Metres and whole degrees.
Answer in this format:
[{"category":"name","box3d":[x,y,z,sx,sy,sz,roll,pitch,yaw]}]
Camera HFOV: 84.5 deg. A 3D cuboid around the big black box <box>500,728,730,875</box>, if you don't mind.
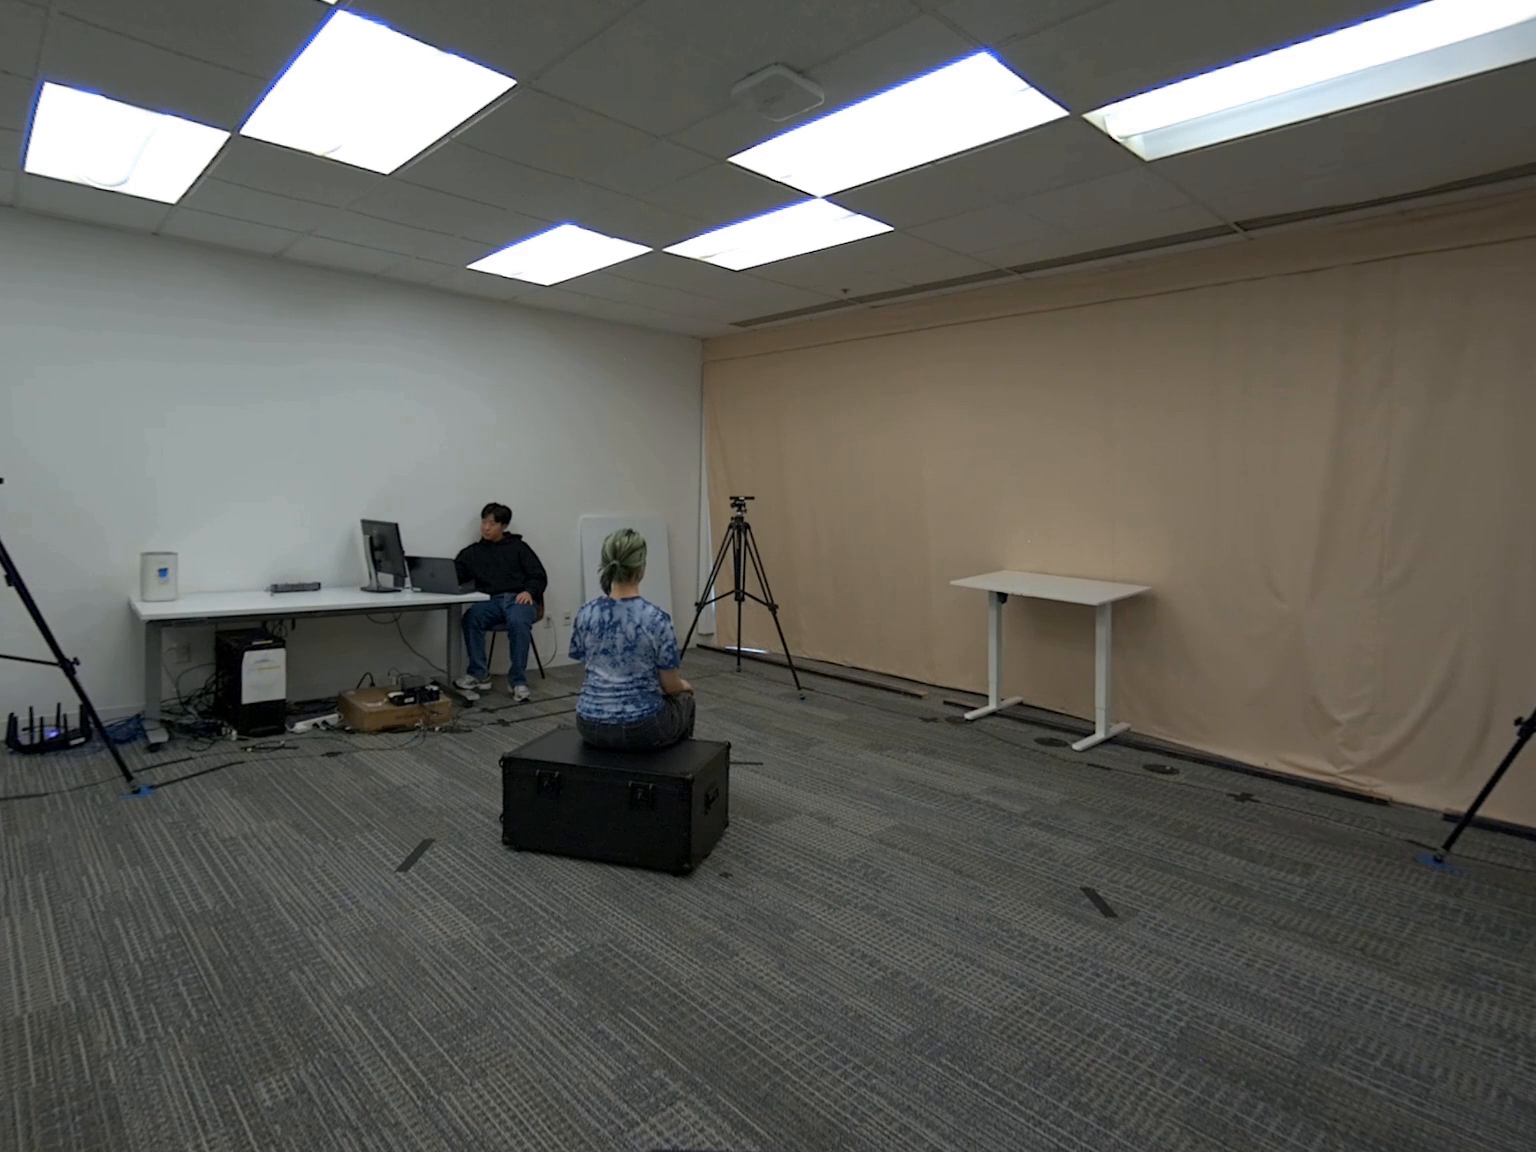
[{"category":"big black box","box3d":[-0.633,0.877,3.388,0.872,0.395,0.516,3,5,15]}]
